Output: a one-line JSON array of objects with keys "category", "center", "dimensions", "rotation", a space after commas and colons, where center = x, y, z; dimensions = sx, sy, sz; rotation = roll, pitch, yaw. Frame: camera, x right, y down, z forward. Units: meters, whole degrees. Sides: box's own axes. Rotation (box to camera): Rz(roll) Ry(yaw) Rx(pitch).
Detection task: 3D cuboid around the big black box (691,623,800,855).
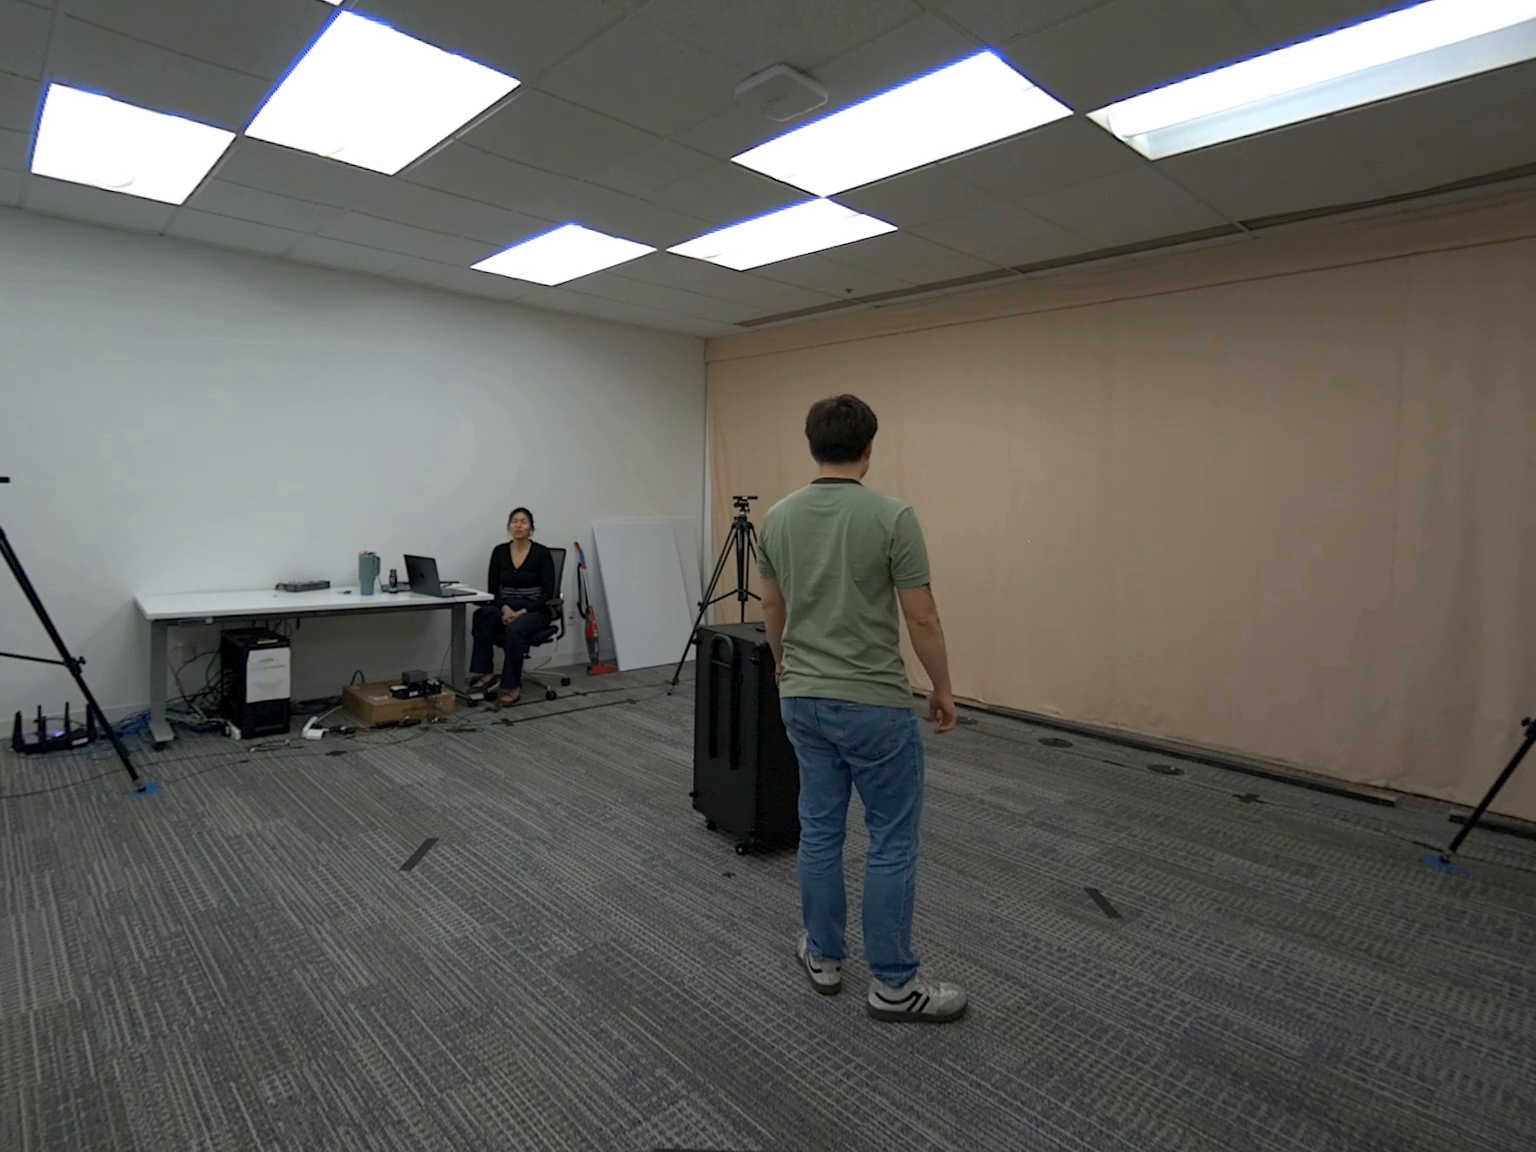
[{"category": "big black box", "center": [-0.045, 0.653, 3.439], "dimensions": [0.388, 0.859, 0.534], "rotation": [-1, 5, -33]}]
